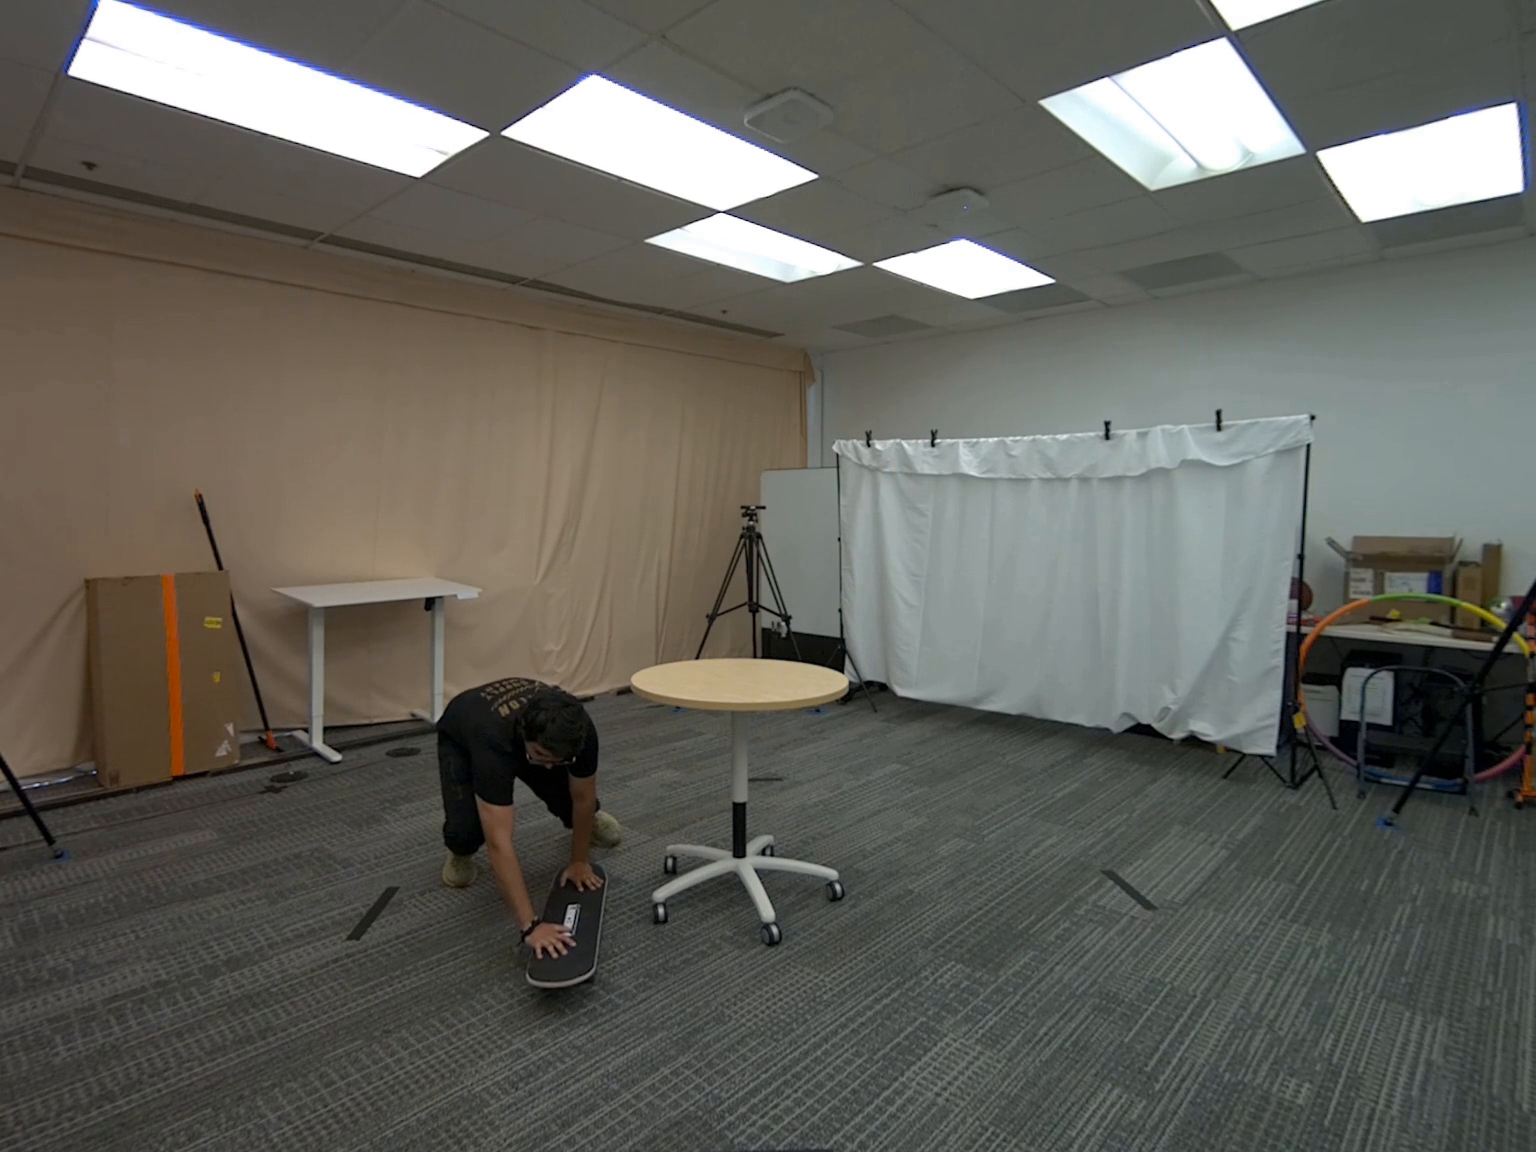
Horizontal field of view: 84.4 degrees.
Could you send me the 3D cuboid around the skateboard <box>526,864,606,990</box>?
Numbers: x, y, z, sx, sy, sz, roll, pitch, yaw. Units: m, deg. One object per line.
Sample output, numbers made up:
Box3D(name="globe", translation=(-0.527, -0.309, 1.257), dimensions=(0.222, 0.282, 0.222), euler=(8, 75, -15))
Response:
Box3D(name="skateboard", translation=(-0.622, 1.116, 2.659), dimensions=(0.192, 0.110, 0.791), euler=(-2, 5, -6))
